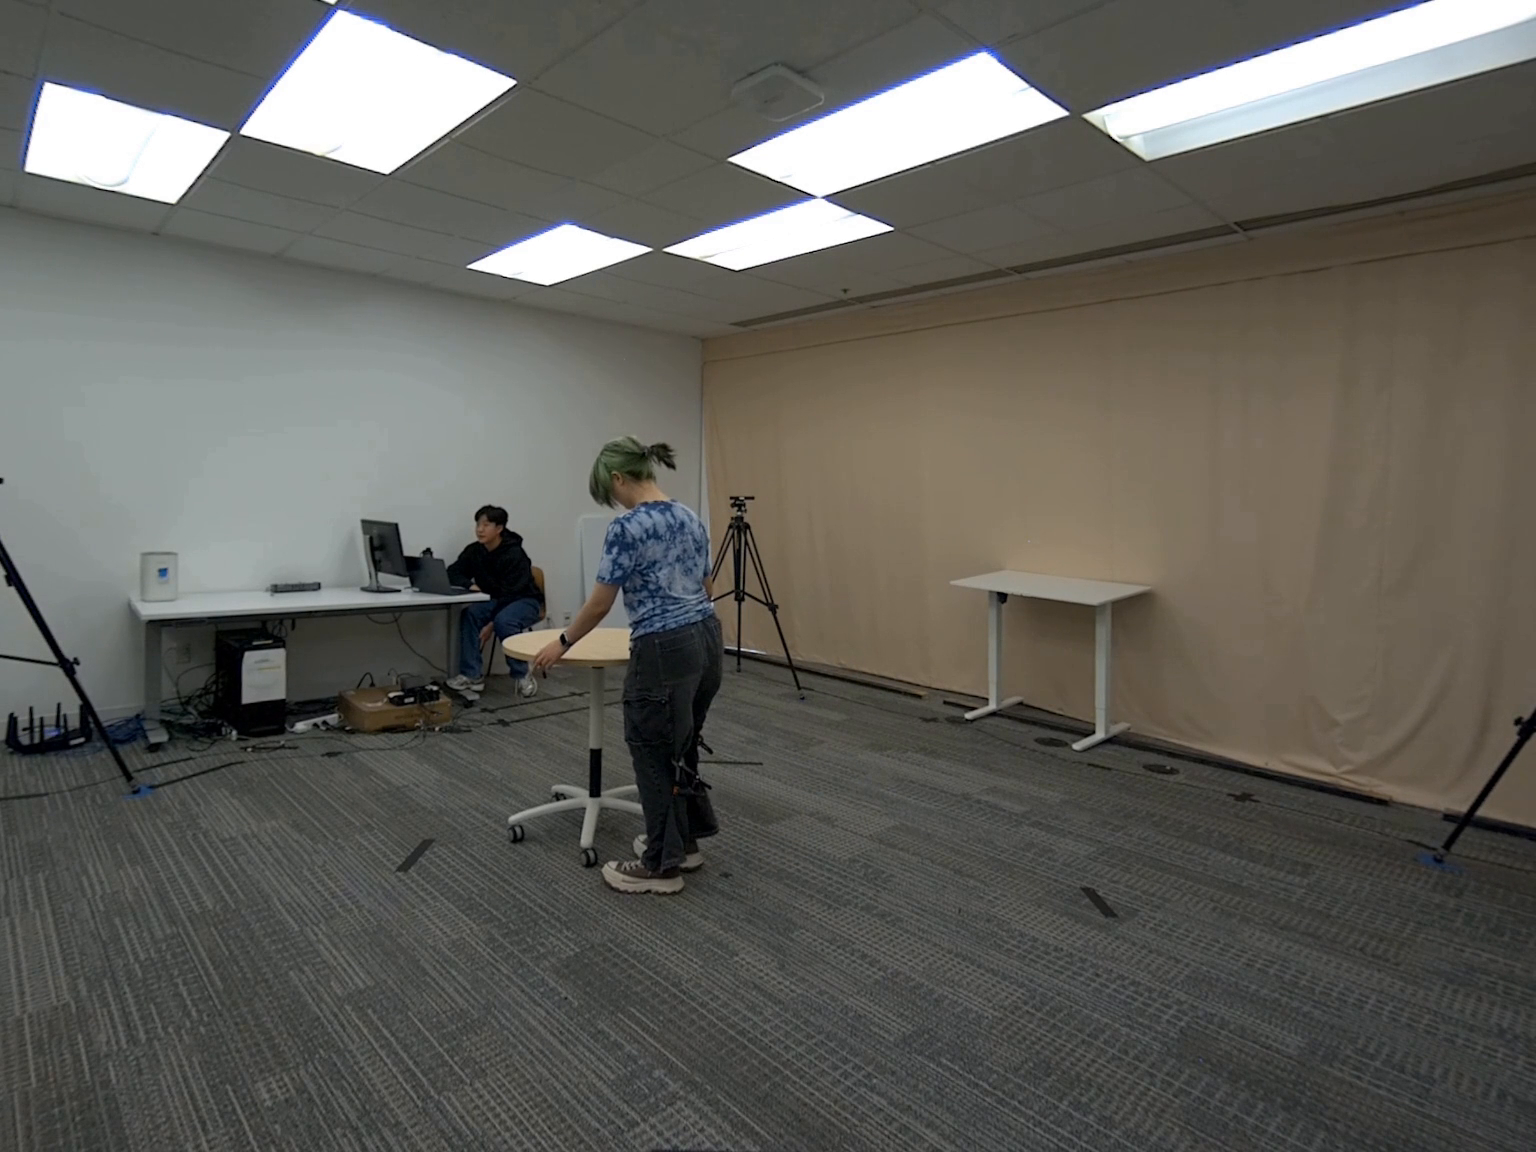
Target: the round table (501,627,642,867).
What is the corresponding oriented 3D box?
[{"bbox_3d":[-0.722,0.668,3.490,0.763,0.792,0.766,1,3,-1],"label":"round table"}]
